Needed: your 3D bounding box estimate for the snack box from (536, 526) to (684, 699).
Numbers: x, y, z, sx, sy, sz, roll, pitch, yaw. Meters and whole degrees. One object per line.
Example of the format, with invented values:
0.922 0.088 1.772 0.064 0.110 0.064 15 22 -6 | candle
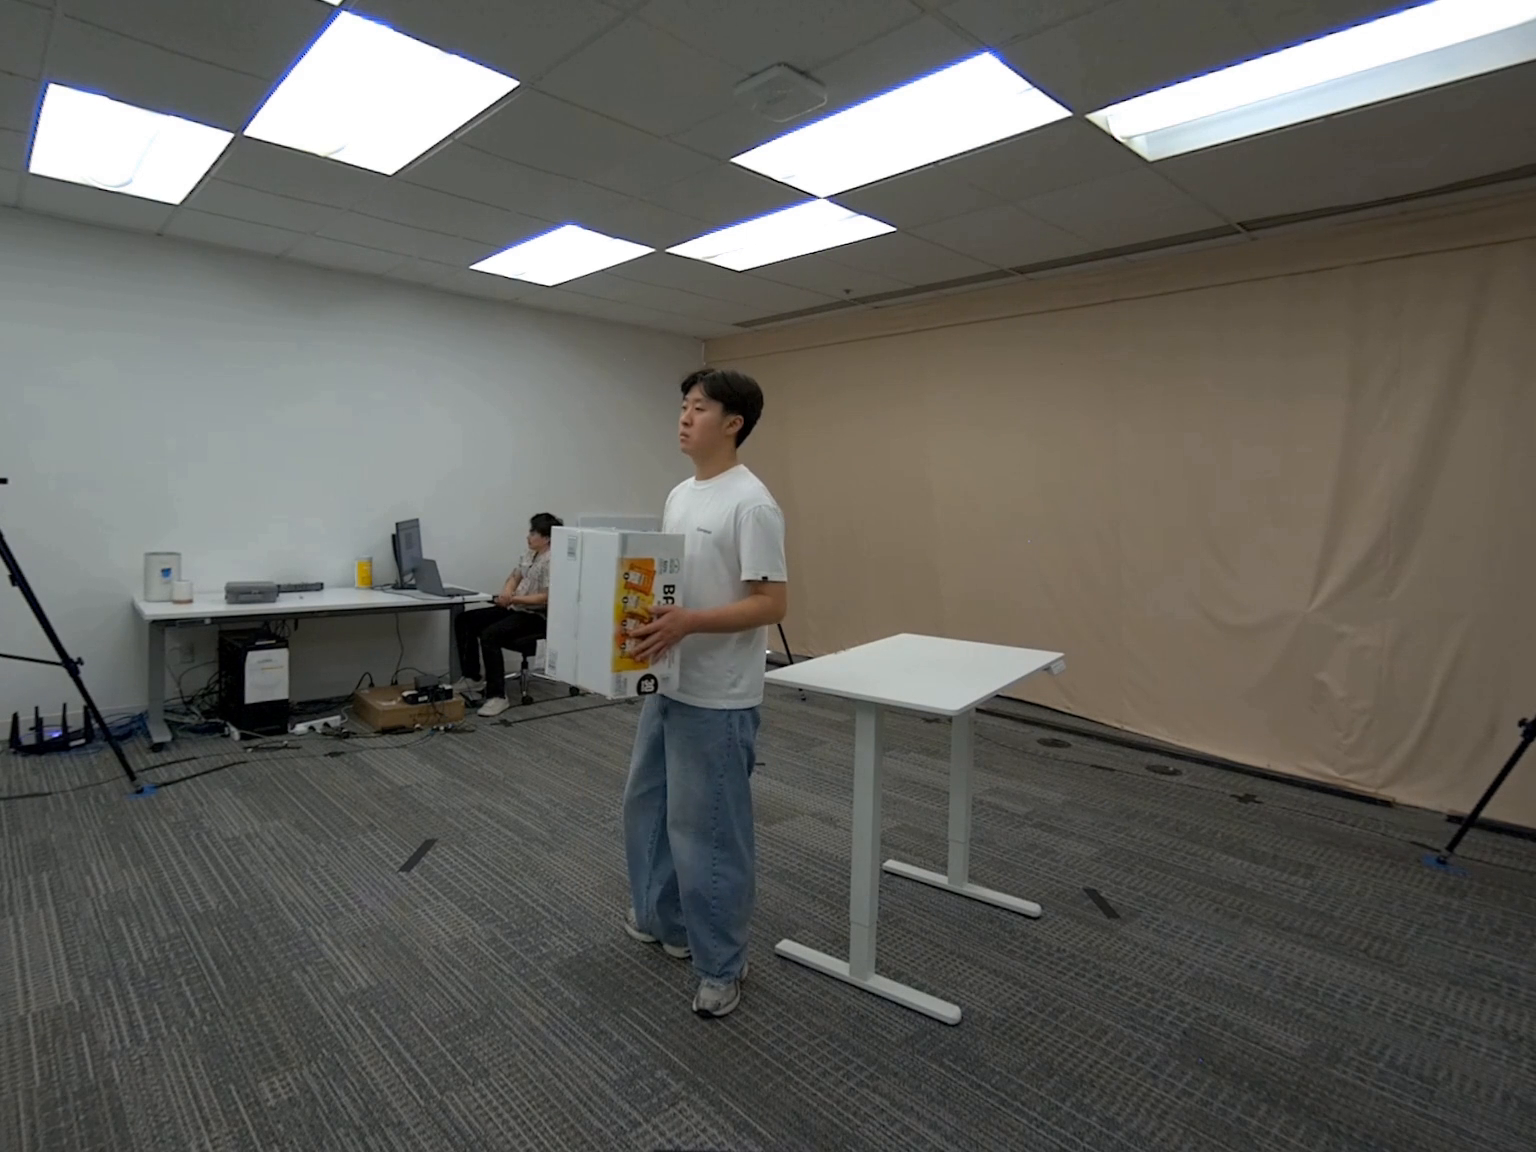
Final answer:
-0.410 0.084 2.208 0.201 0.404 0.349 1 3 -42 | snack box
